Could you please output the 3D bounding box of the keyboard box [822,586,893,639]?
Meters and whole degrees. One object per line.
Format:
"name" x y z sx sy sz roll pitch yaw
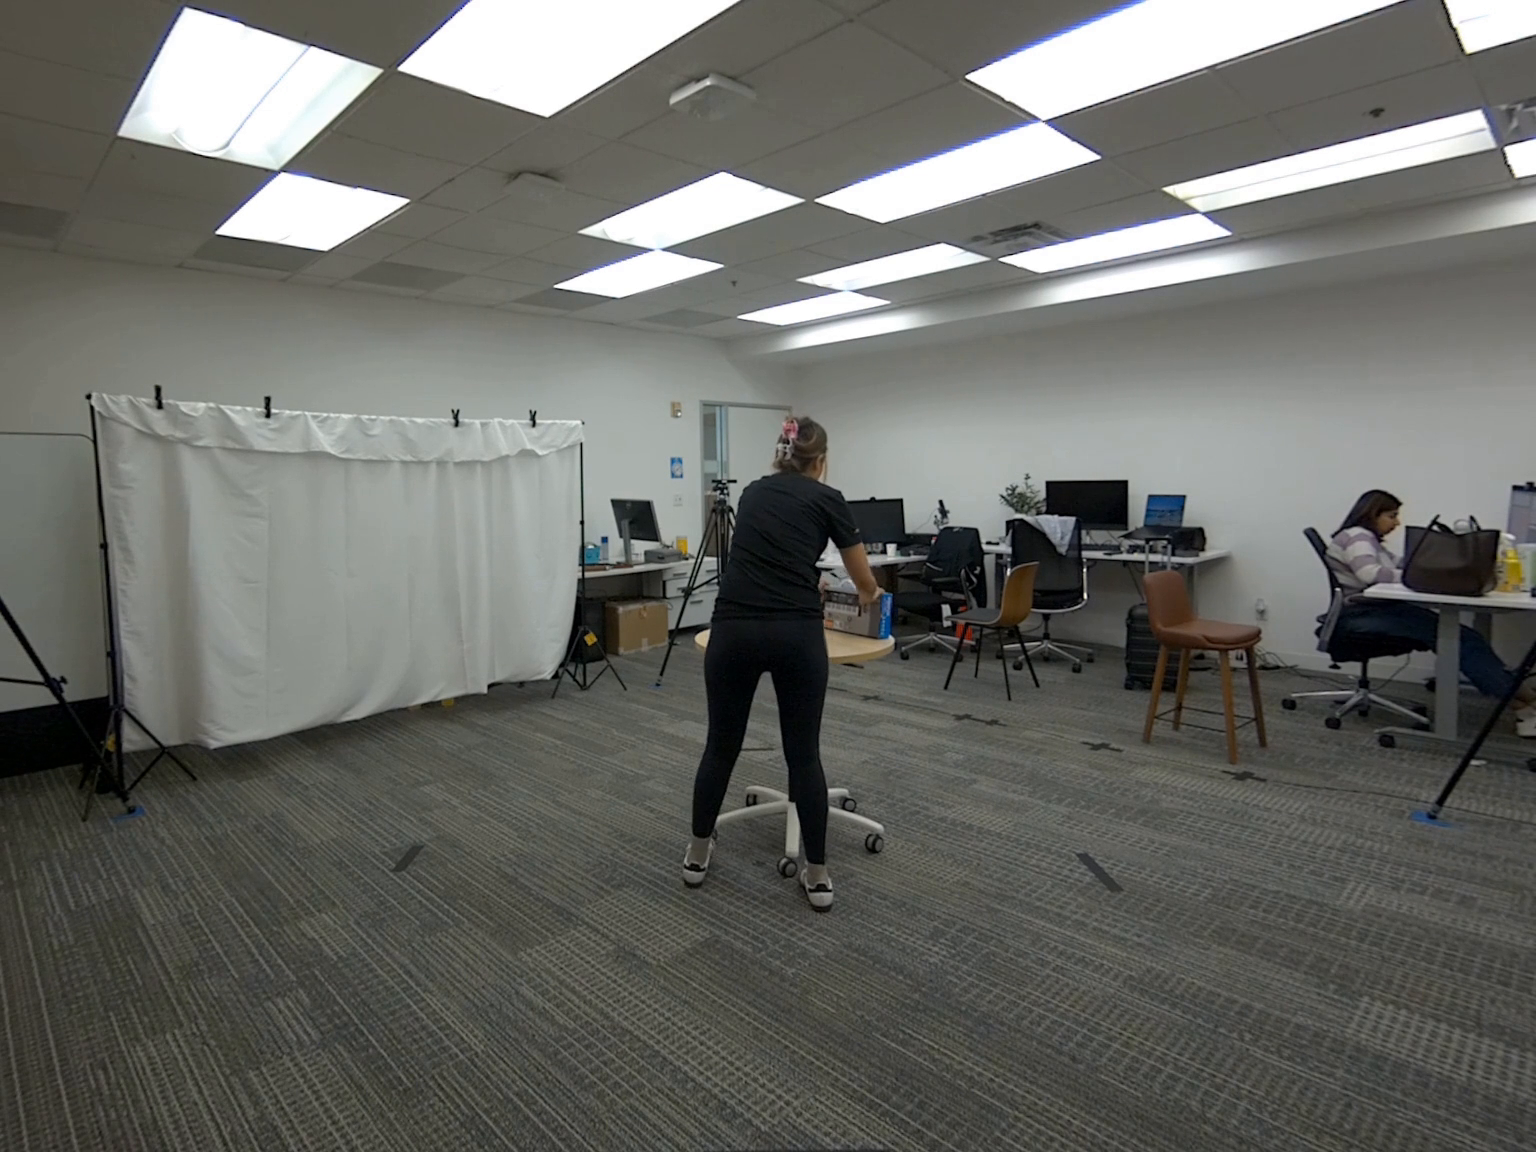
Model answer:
"keyboard box" 0.318 0.137 3.434 0.057 0.176 0.450 6 2 -37
